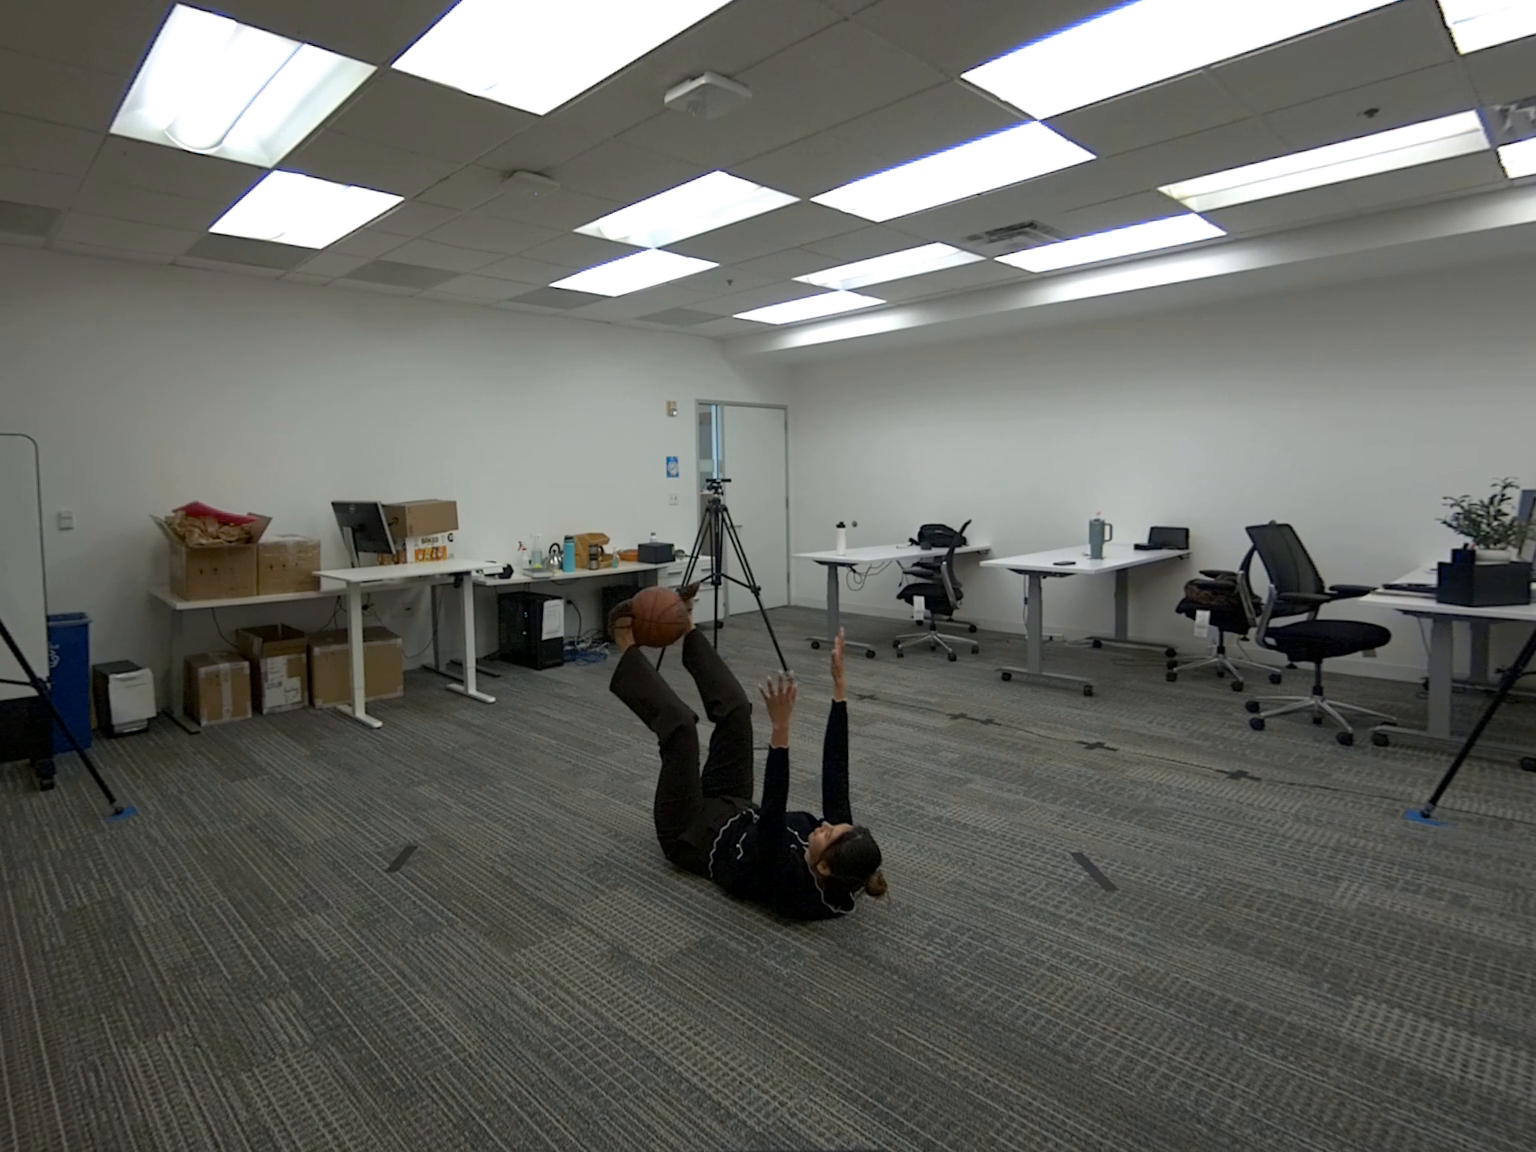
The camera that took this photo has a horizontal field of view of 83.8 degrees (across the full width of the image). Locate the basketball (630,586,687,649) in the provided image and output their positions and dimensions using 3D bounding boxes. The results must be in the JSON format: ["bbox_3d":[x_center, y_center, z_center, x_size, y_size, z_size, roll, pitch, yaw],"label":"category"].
[{"bbox_3d":[-0.469,0.183,3.300,0.236,0.235,0.237,-1,5,-2],"label":"basketball"}]
